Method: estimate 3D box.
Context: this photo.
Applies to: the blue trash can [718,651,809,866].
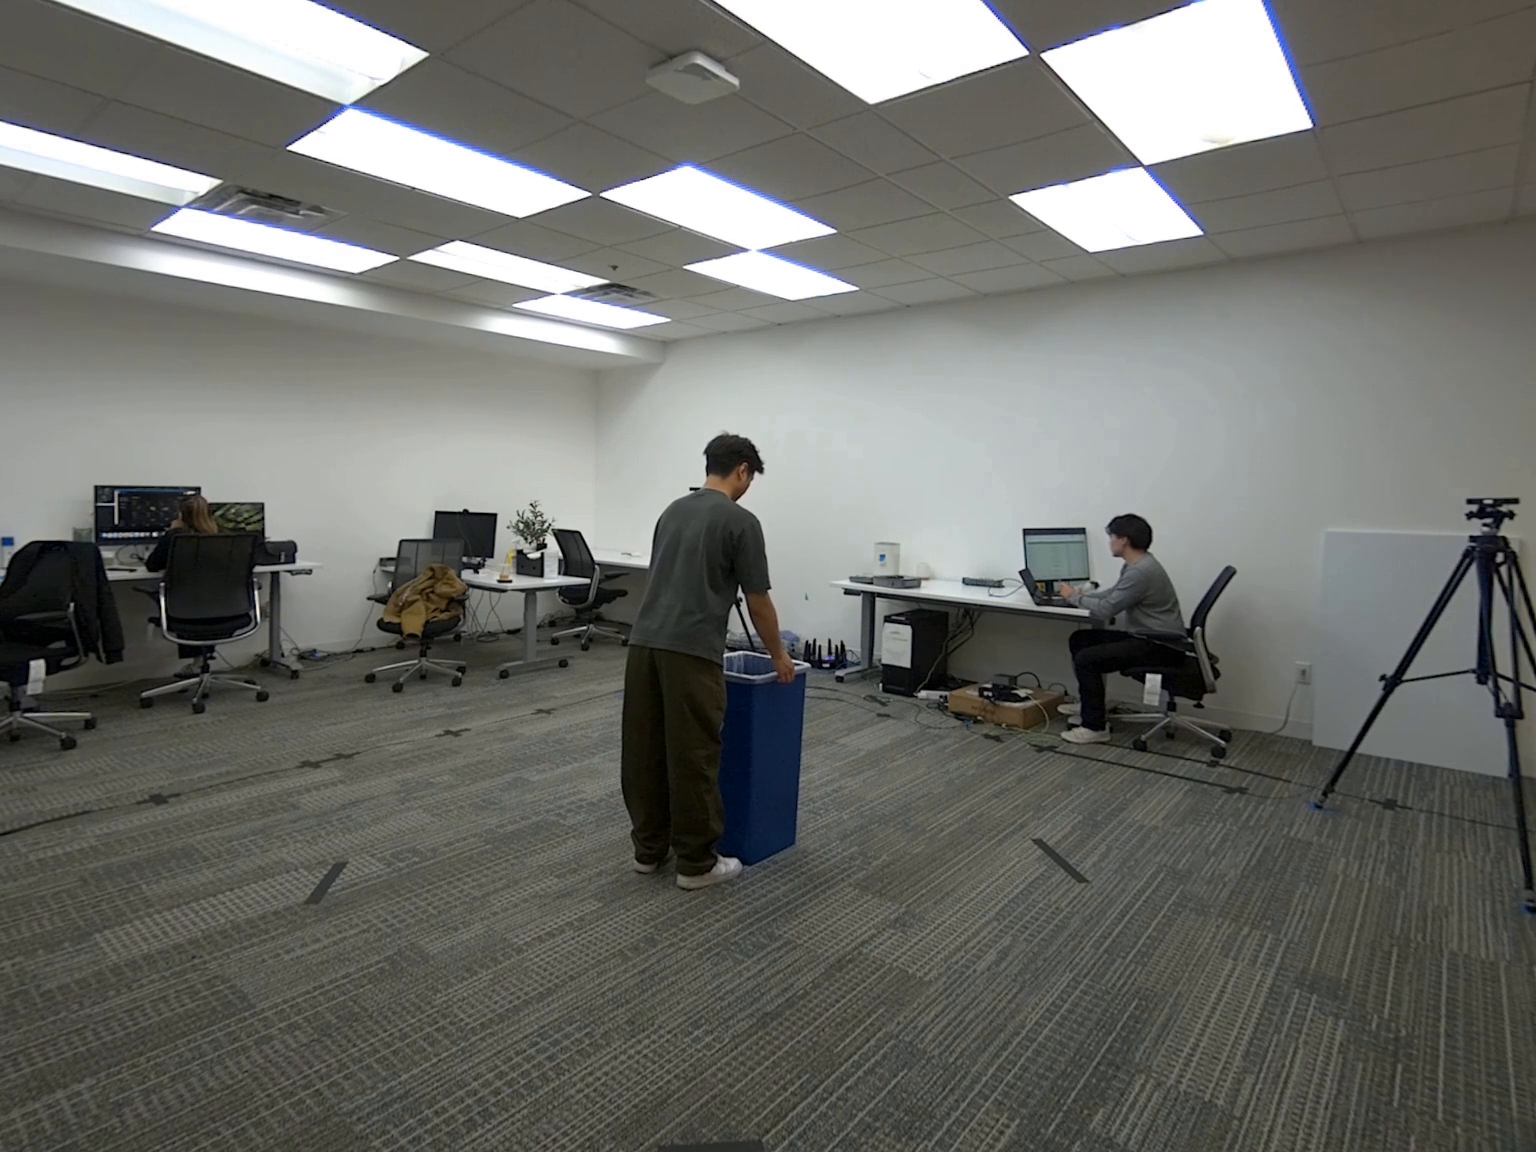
[{"bbox_3d":[-0.096,0.689,3.327,0.391,0.711,0.363,5,5,38],"label":"blue trash can"}]
